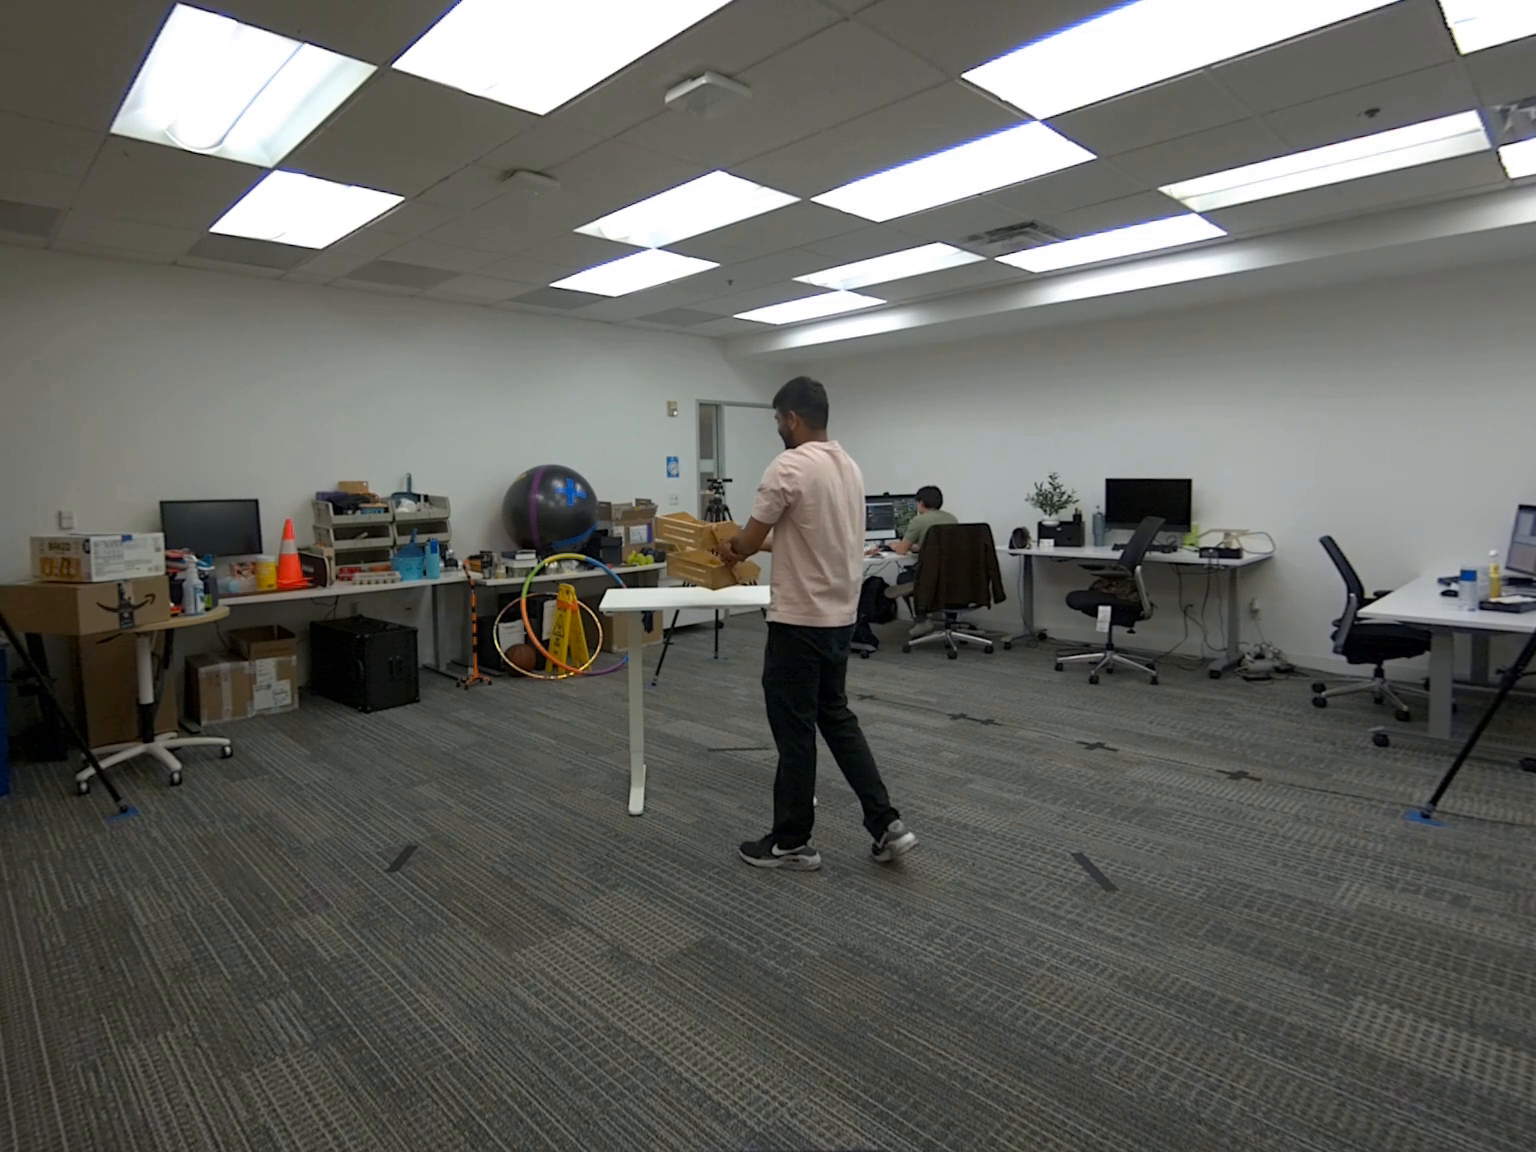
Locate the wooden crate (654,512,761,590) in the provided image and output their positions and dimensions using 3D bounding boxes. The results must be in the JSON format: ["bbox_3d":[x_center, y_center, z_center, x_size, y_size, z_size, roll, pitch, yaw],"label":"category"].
[{"bbox_3d":[-0.234,-0.117,3.423,0.295,0.270,0.336,-13,18,-41],"label":"wooden crate"}]
